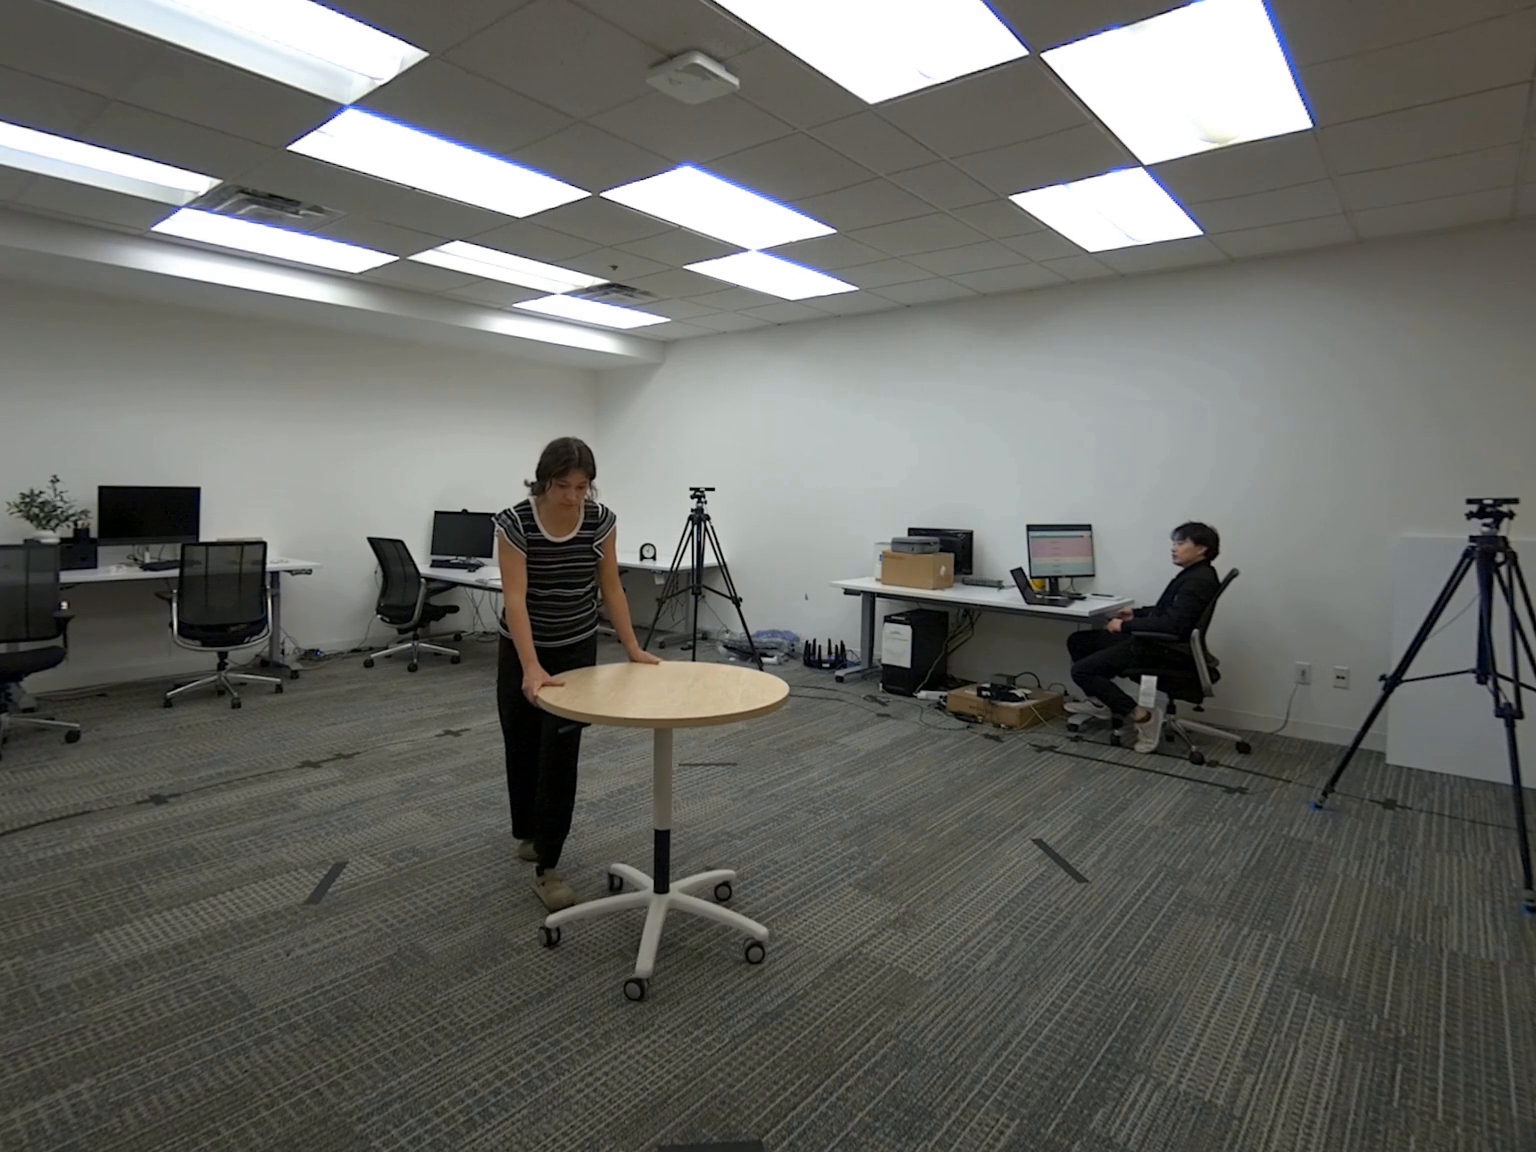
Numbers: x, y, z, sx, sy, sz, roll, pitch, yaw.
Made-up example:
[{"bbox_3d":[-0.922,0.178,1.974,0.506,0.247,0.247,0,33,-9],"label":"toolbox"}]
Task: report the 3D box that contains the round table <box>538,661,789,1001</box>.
[{"bbox_3d":[-0.330,0.724,2.622,0.763,0.791,0.768,1,4,-2],"label":"round table"}]
